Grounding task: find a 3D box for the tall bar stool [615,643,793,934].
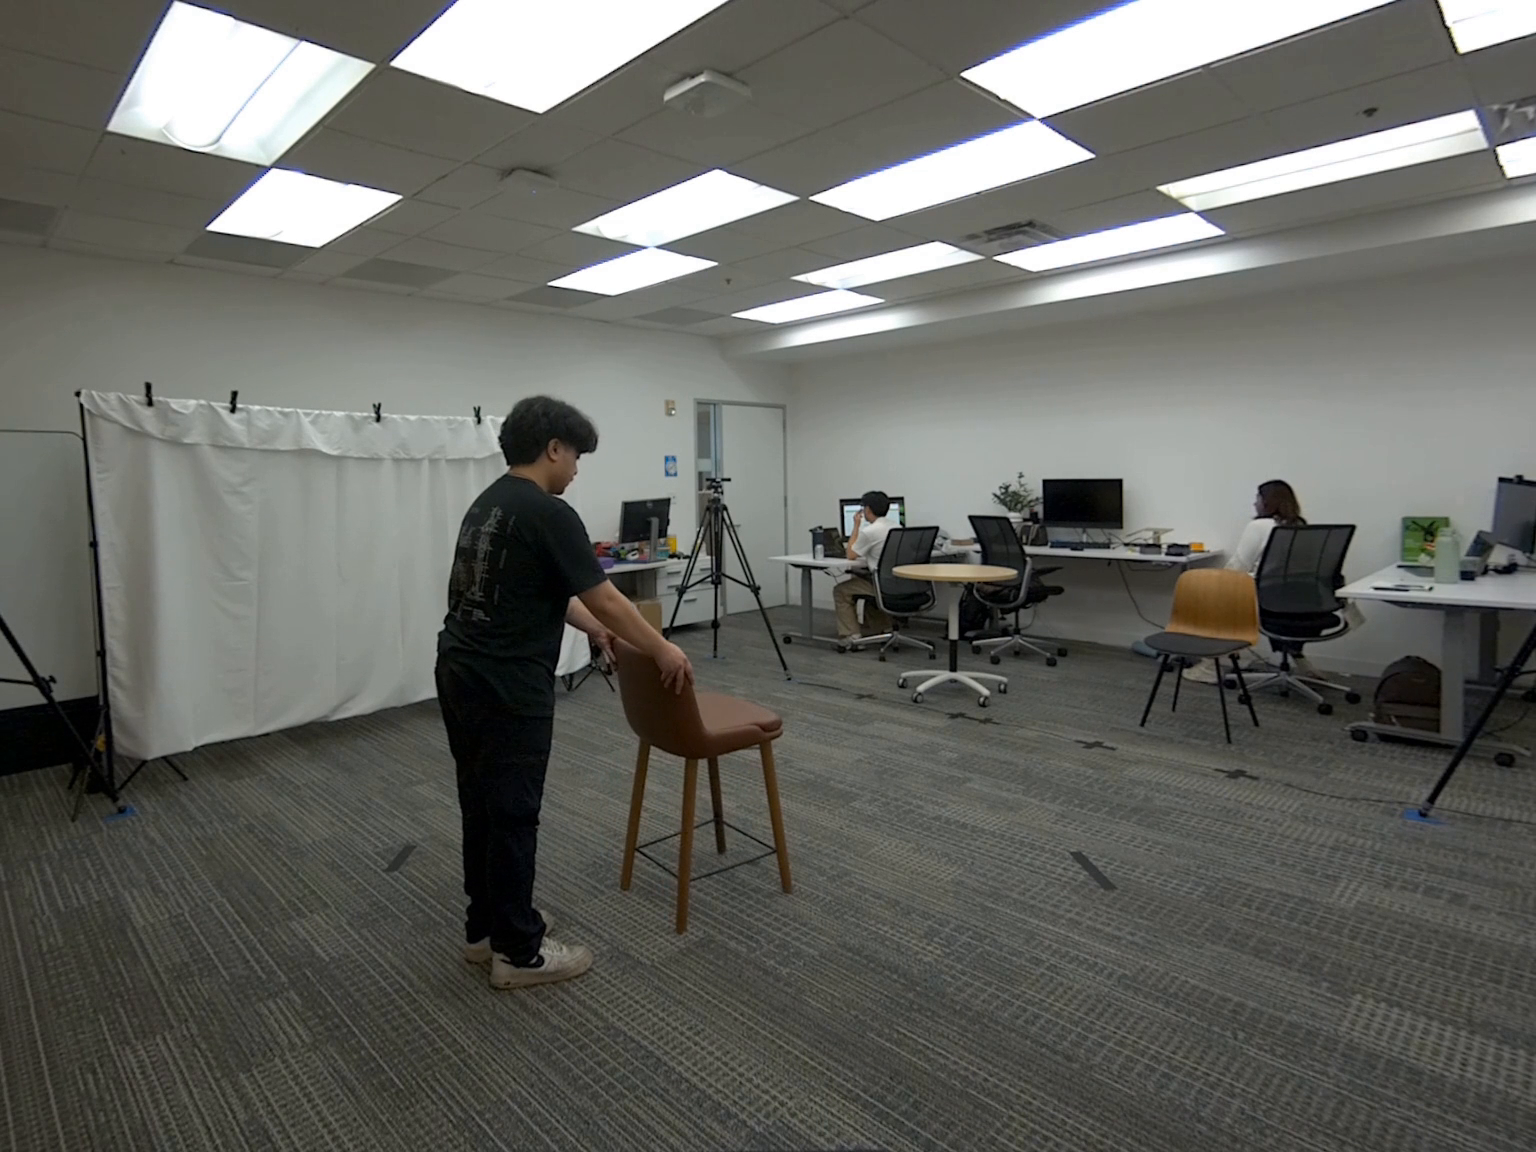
[{"bbox_3d":[-0.233,0.634,2.873,0.456,0.885,0.470,-7,7,-37],"label":"tall bar stool"}]
